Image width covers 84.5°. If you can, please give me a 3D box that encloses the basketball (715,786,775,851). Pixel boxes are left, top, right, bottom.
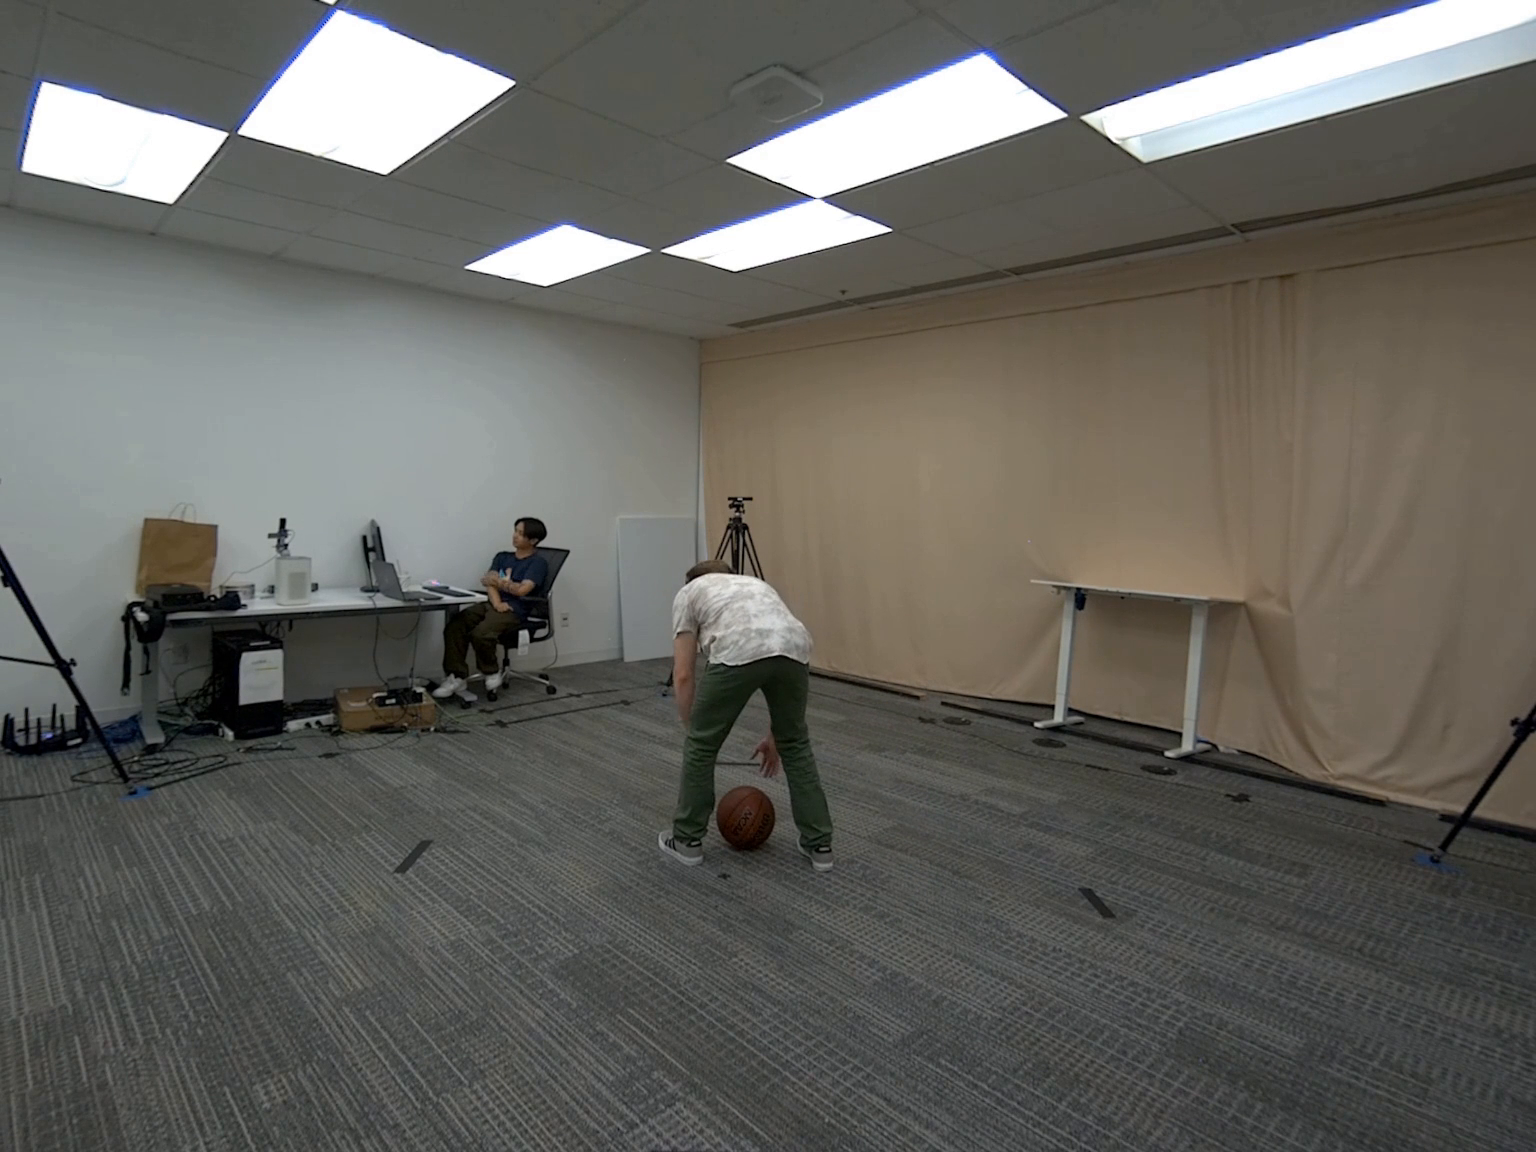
[{"bbox_3d":[-0.100,0.958,3.372,0.236,0.235,0.237,1,4,-1],"label":"basketball"}]
